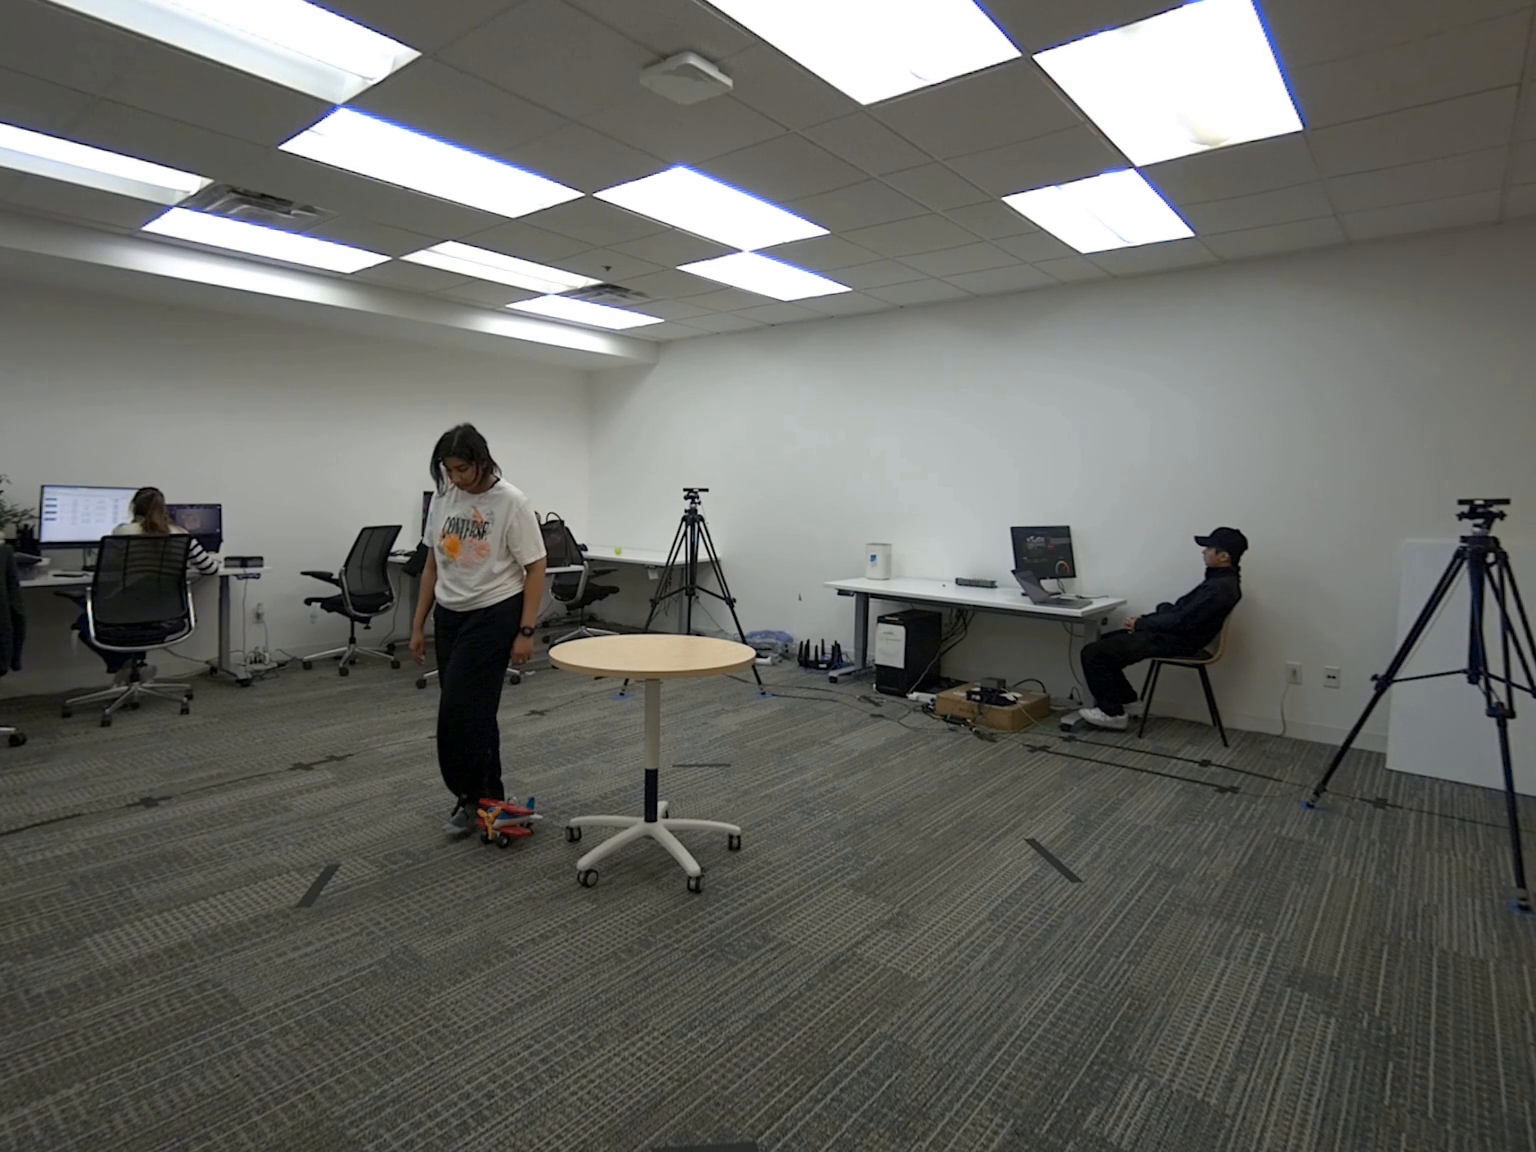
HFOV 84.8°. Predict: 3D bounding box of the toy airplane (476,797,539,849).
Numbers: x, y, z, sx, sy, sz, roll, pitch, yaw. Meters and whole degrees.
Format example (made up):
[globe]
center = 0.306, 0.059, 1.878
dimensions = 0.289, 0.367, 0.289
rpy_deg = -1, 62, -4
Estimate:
[toy airplane]
center = -1.051, 0.957, 3.362
dimensions = 0.252, 0.156, 0.260
rpy_deg = 0, 5, 1
